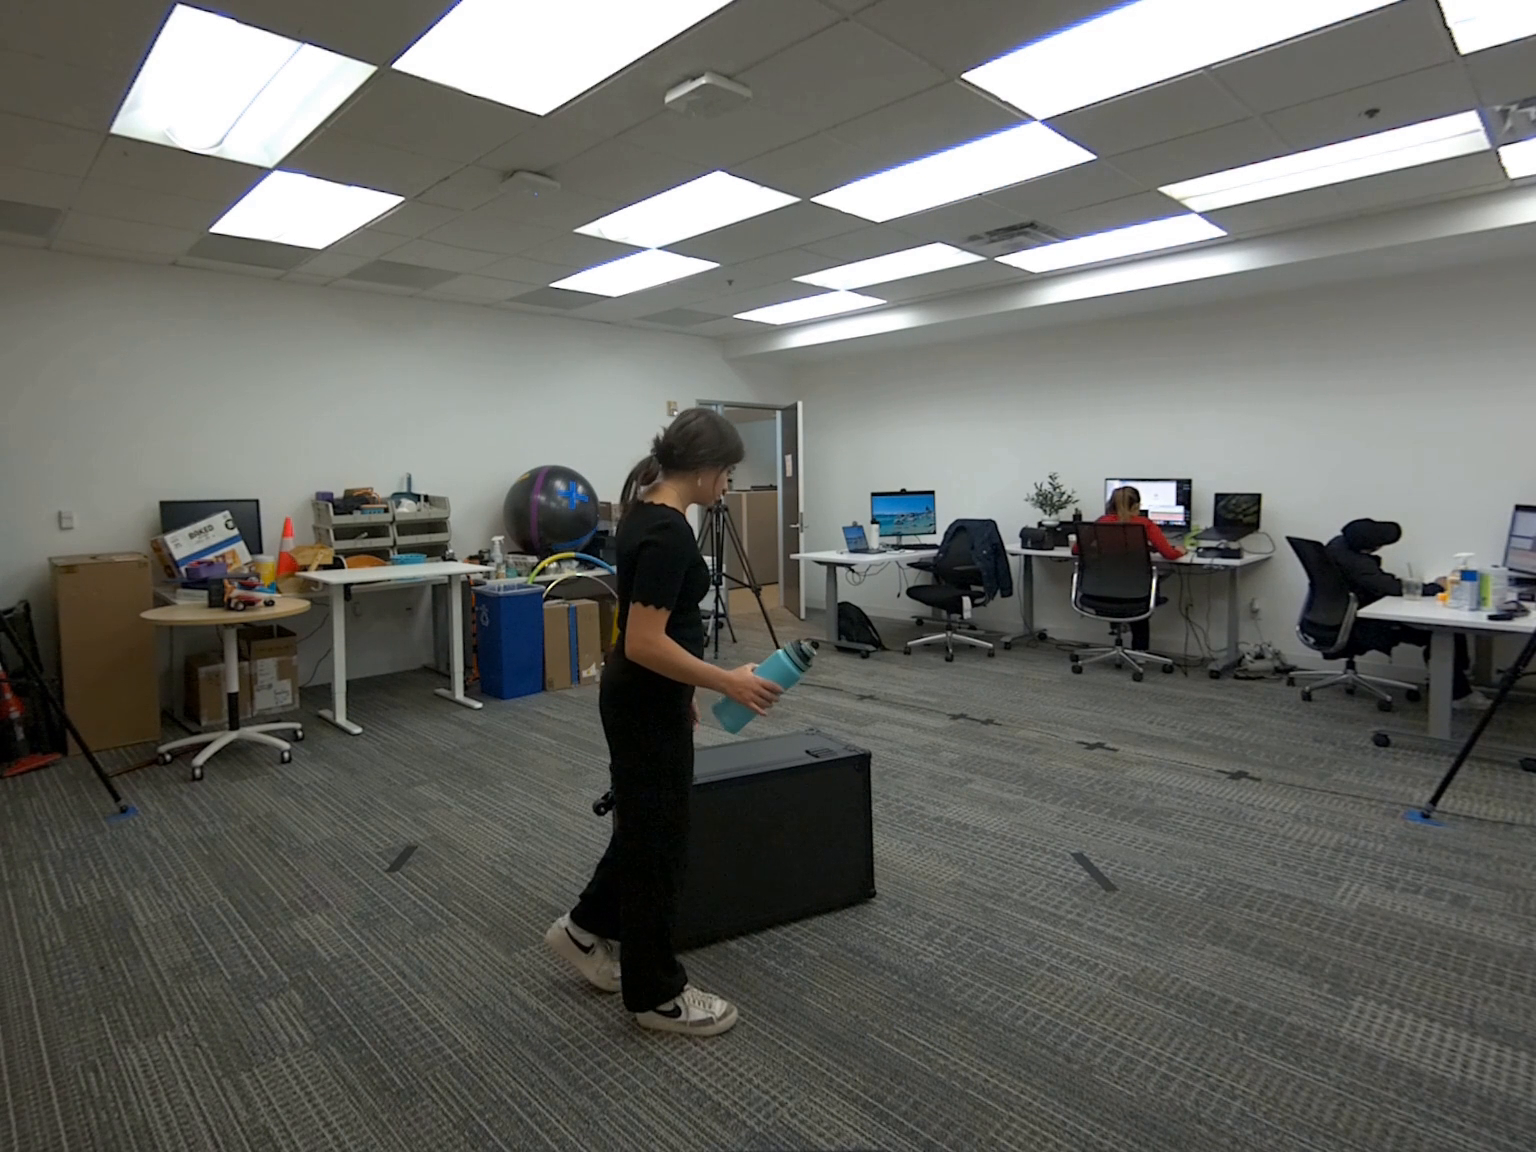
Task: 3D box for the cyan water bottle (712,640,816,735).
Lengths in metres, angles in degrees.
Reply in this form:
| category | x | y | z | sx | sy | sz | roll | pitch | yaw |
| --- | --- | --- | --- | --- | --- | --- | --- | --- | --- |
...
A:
| category | x | y | z | sx | sy | sz | roll | pitch | yaw |
| --- | --- | --- | --- | --- | --- | --- | --- | --- | --- |
| cyan water bottle | -0.001 | 0.258 | 2.074 | 0.283 | 0.092 | 0.092 | -41 | 1 | 6 |
